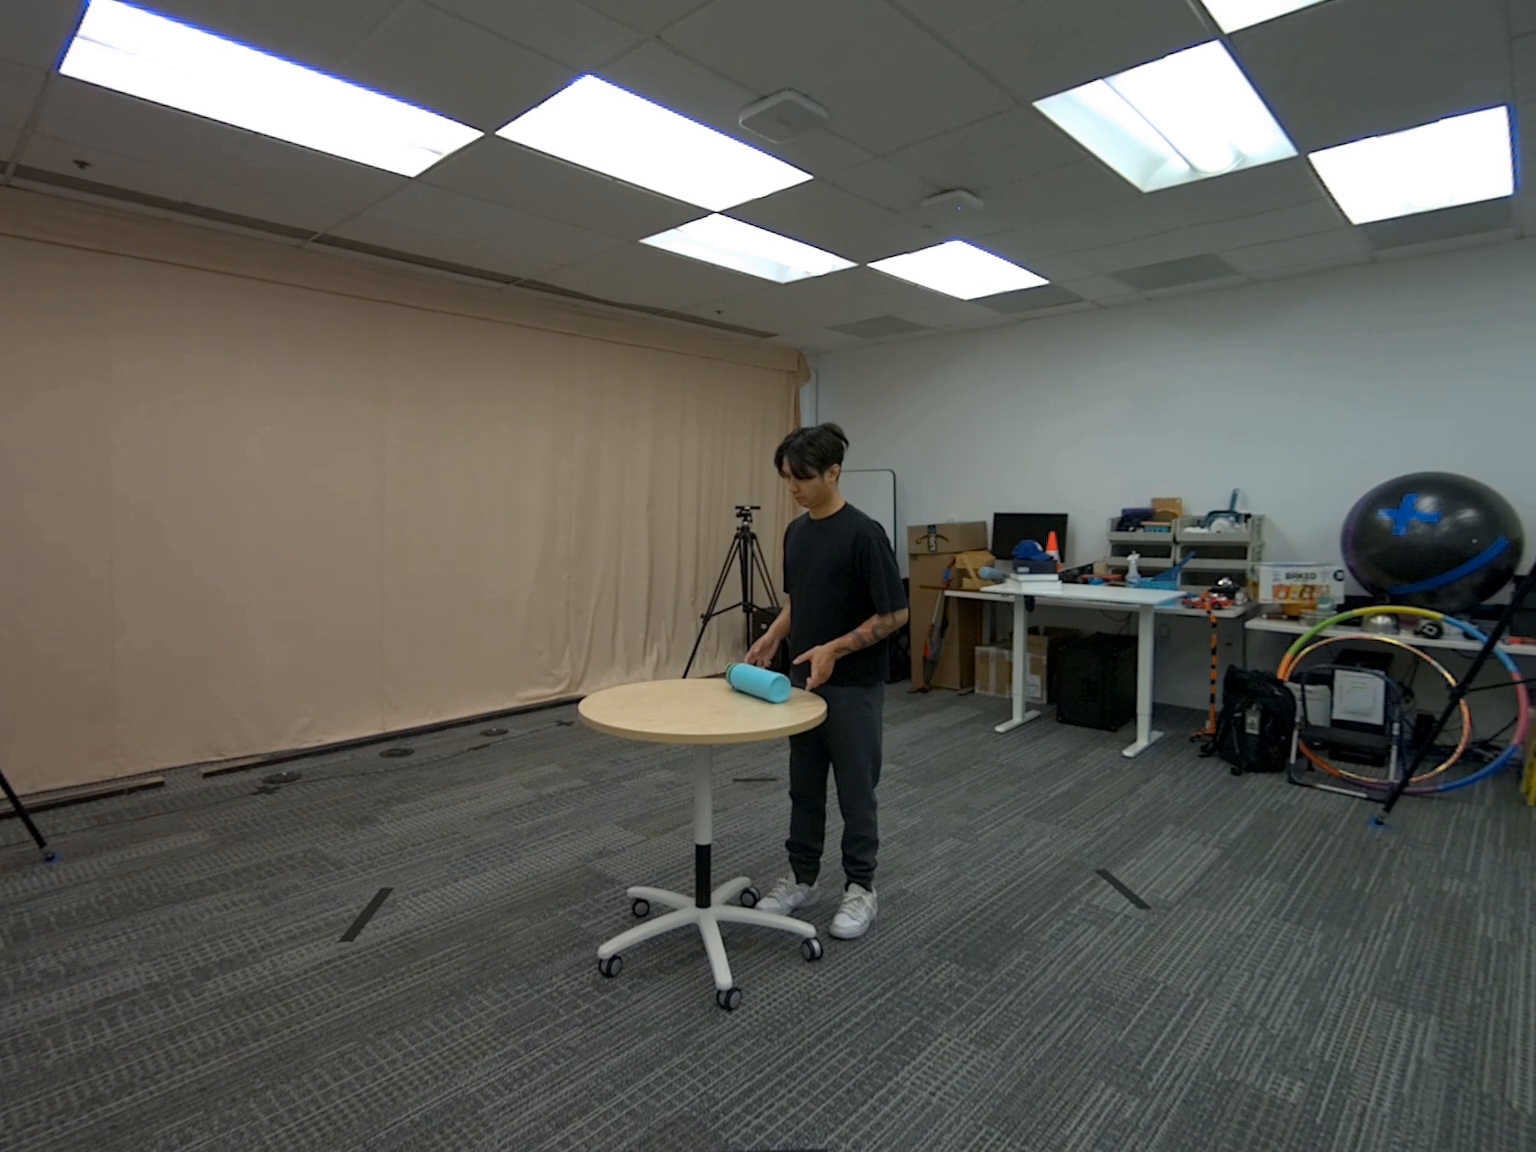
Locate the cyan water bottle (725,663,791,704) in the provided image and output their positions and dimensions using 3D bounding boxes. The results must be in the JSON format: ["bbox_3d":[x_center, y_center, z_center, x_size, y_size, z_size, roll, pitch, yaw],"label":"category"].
[{"bbox_3d":[-0.043,0.339,2.723,0.090,0.092,0.292,-2,5,-35],"label":"cyan water bottle"}]
